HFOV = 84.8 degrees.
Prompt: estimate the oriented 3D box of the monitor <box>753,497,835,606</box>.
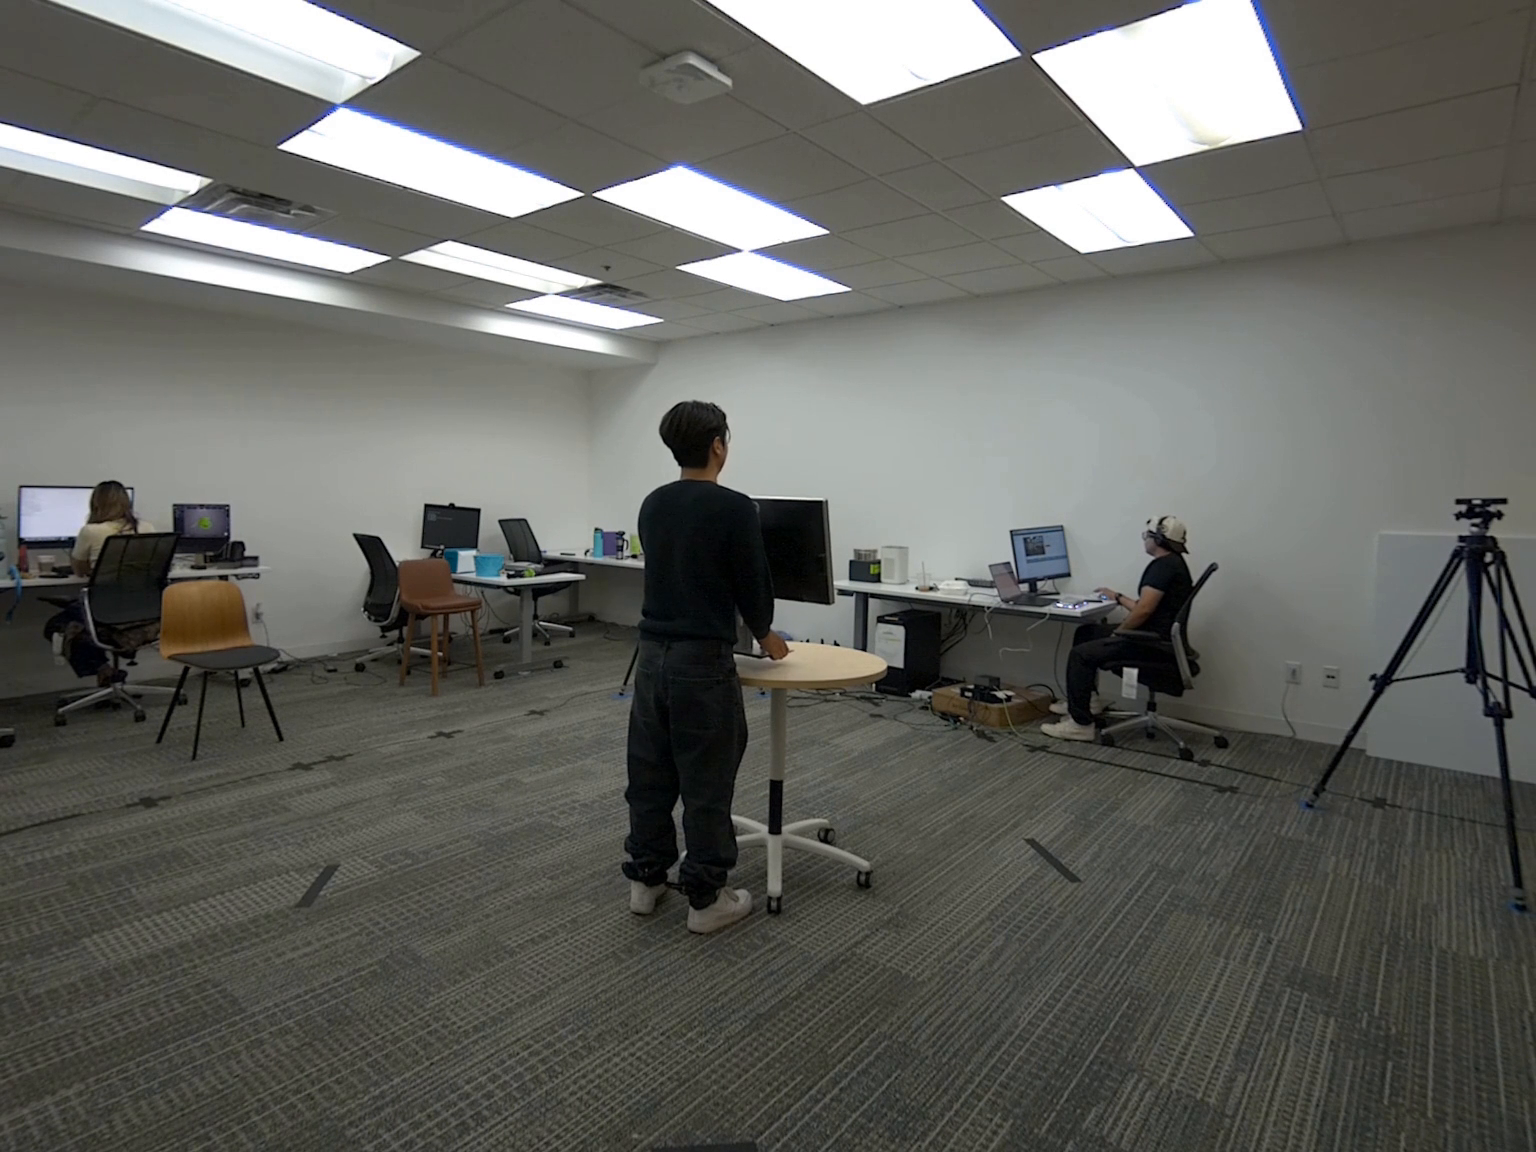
[{"bbox_3d":[-0.056,-0.012,2.966,0.557,0.521,0.181,5,3,35],"label":"monitor"}]
